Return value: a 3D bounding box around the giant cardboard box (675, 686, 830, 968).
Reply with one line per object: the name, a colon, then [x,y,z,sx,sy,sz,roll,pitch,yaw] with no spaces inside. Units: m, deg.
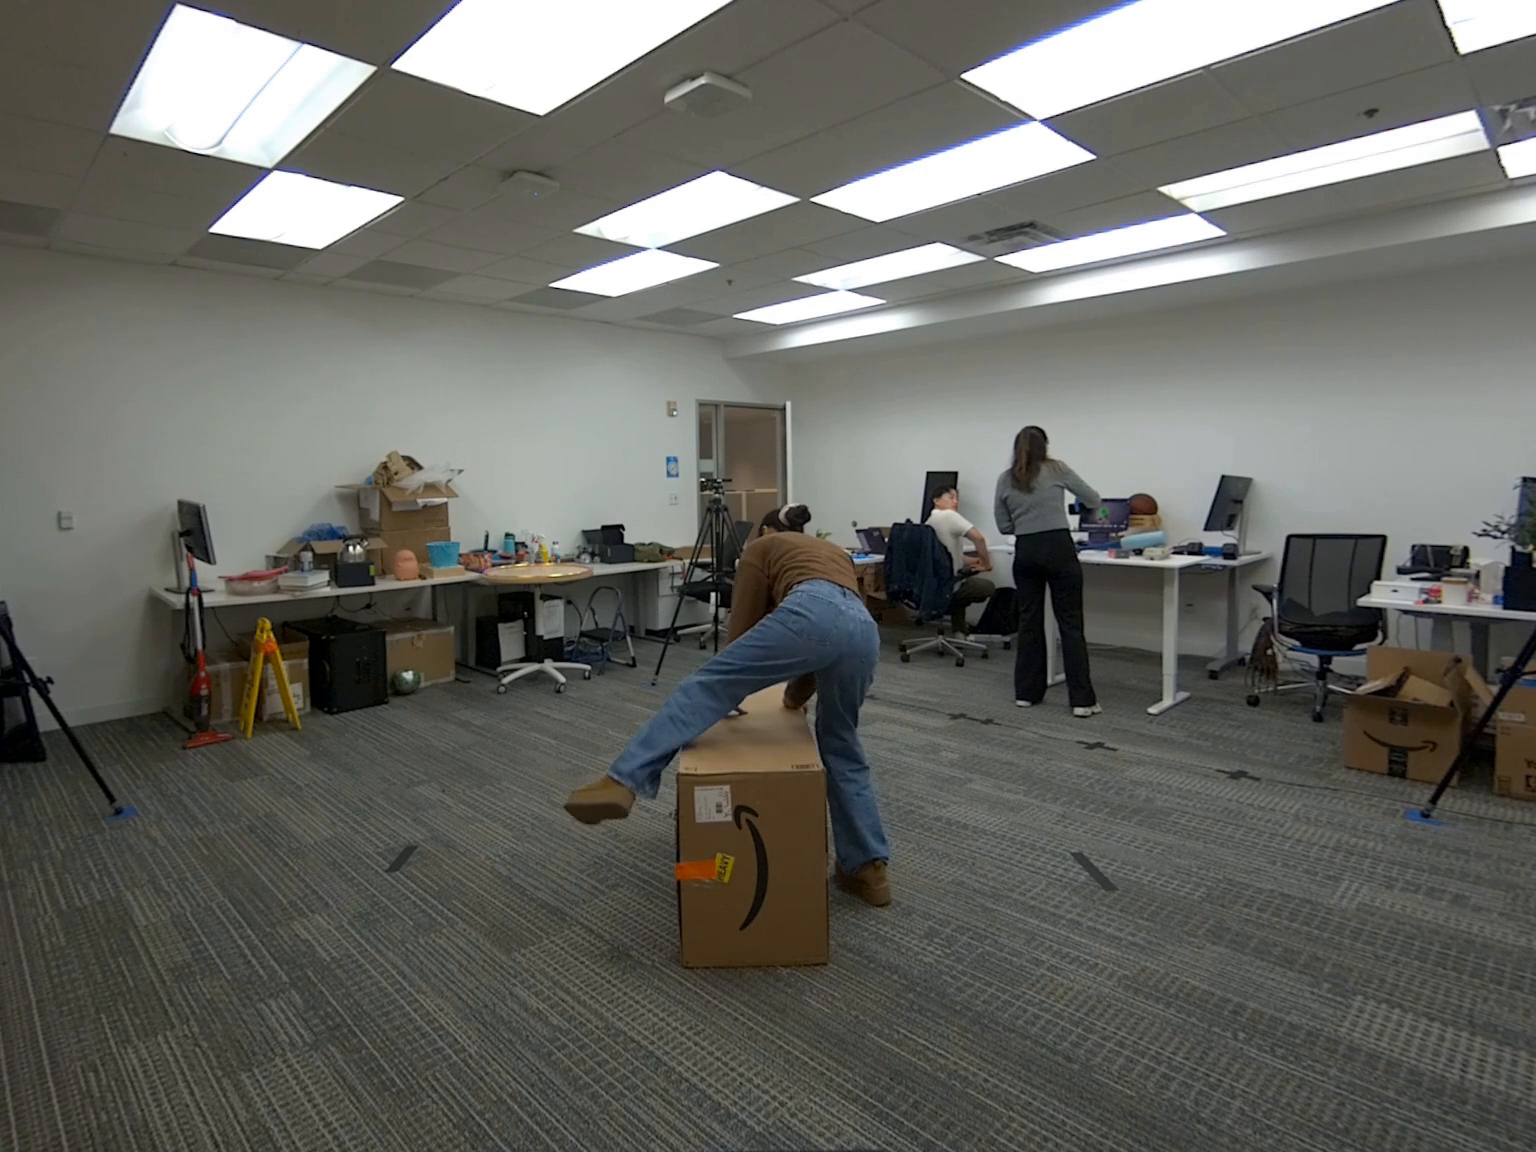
giant cardboard box: [-0.070,0.780,2.939,0.446,0.581,1.032,0,5,-2]
